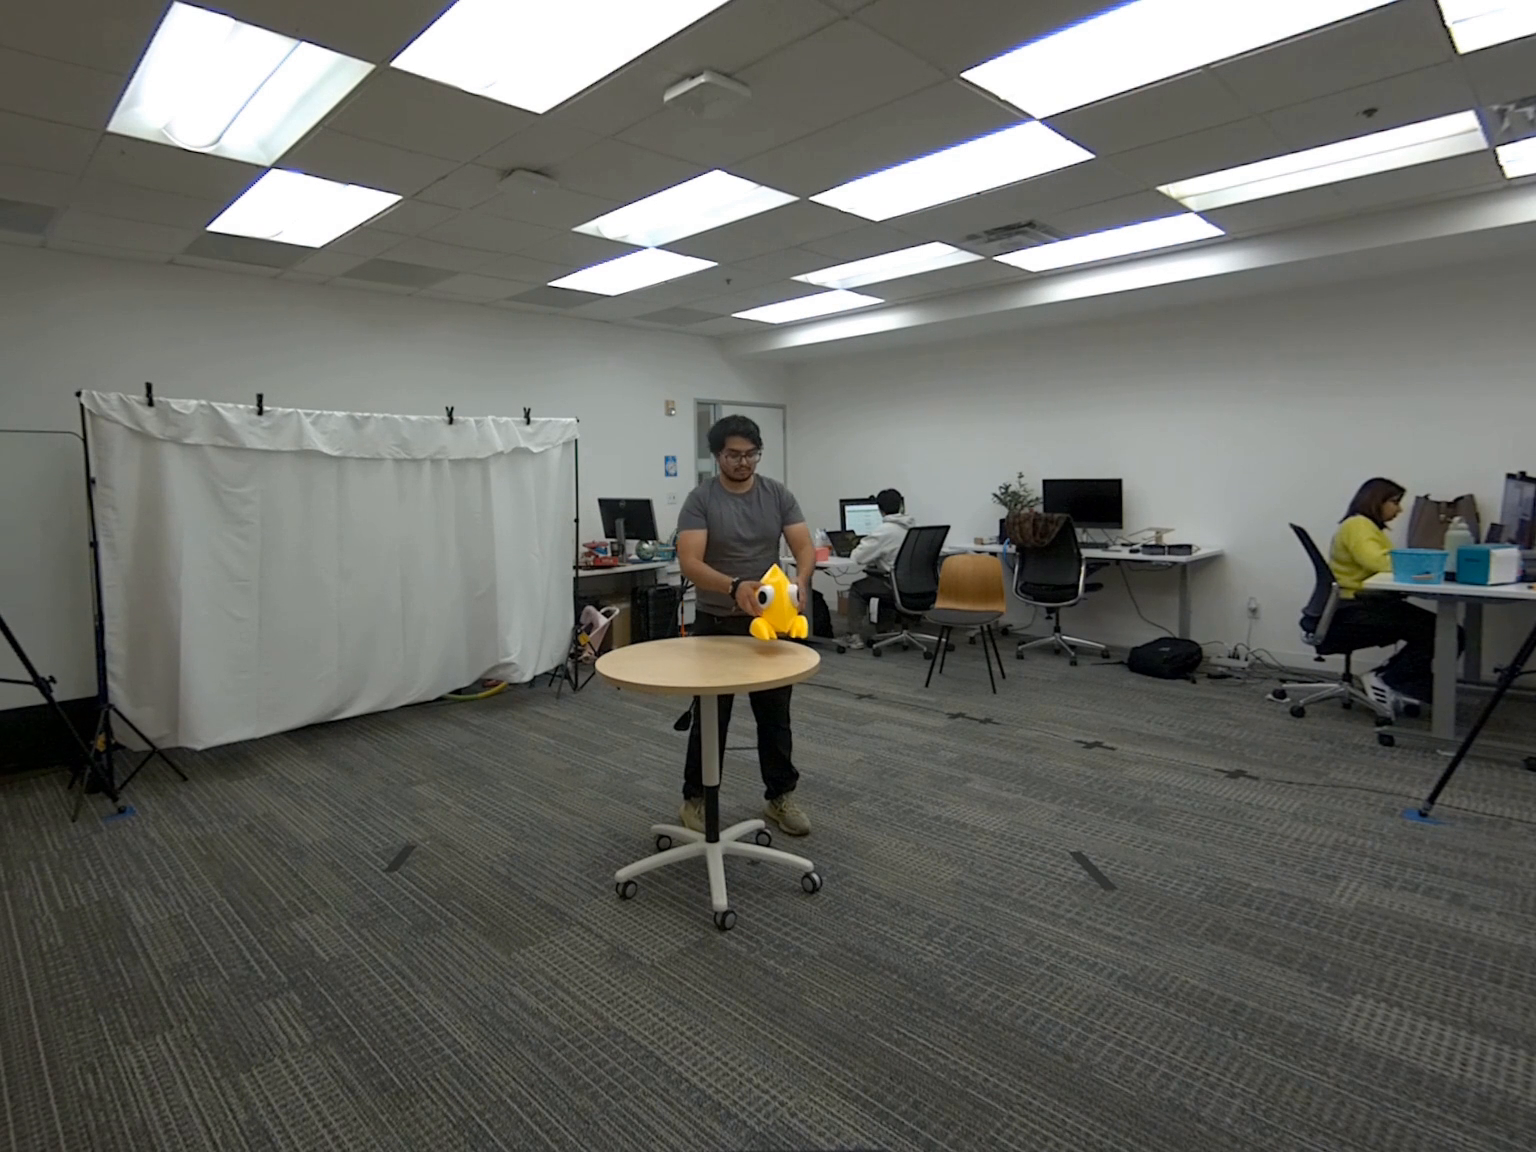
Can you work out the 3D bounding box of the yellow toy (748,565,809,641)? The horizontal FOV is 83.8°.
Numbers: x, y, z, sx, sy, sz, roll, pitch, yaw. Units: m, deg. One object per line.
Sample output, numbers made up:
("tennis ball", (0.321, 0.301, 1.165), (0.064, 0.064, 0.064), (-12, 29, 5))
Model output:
("yellow toy", (0.038, 0.085, 2.980), (0.202, 0.228, 0.197), (-3, 12, -14))
